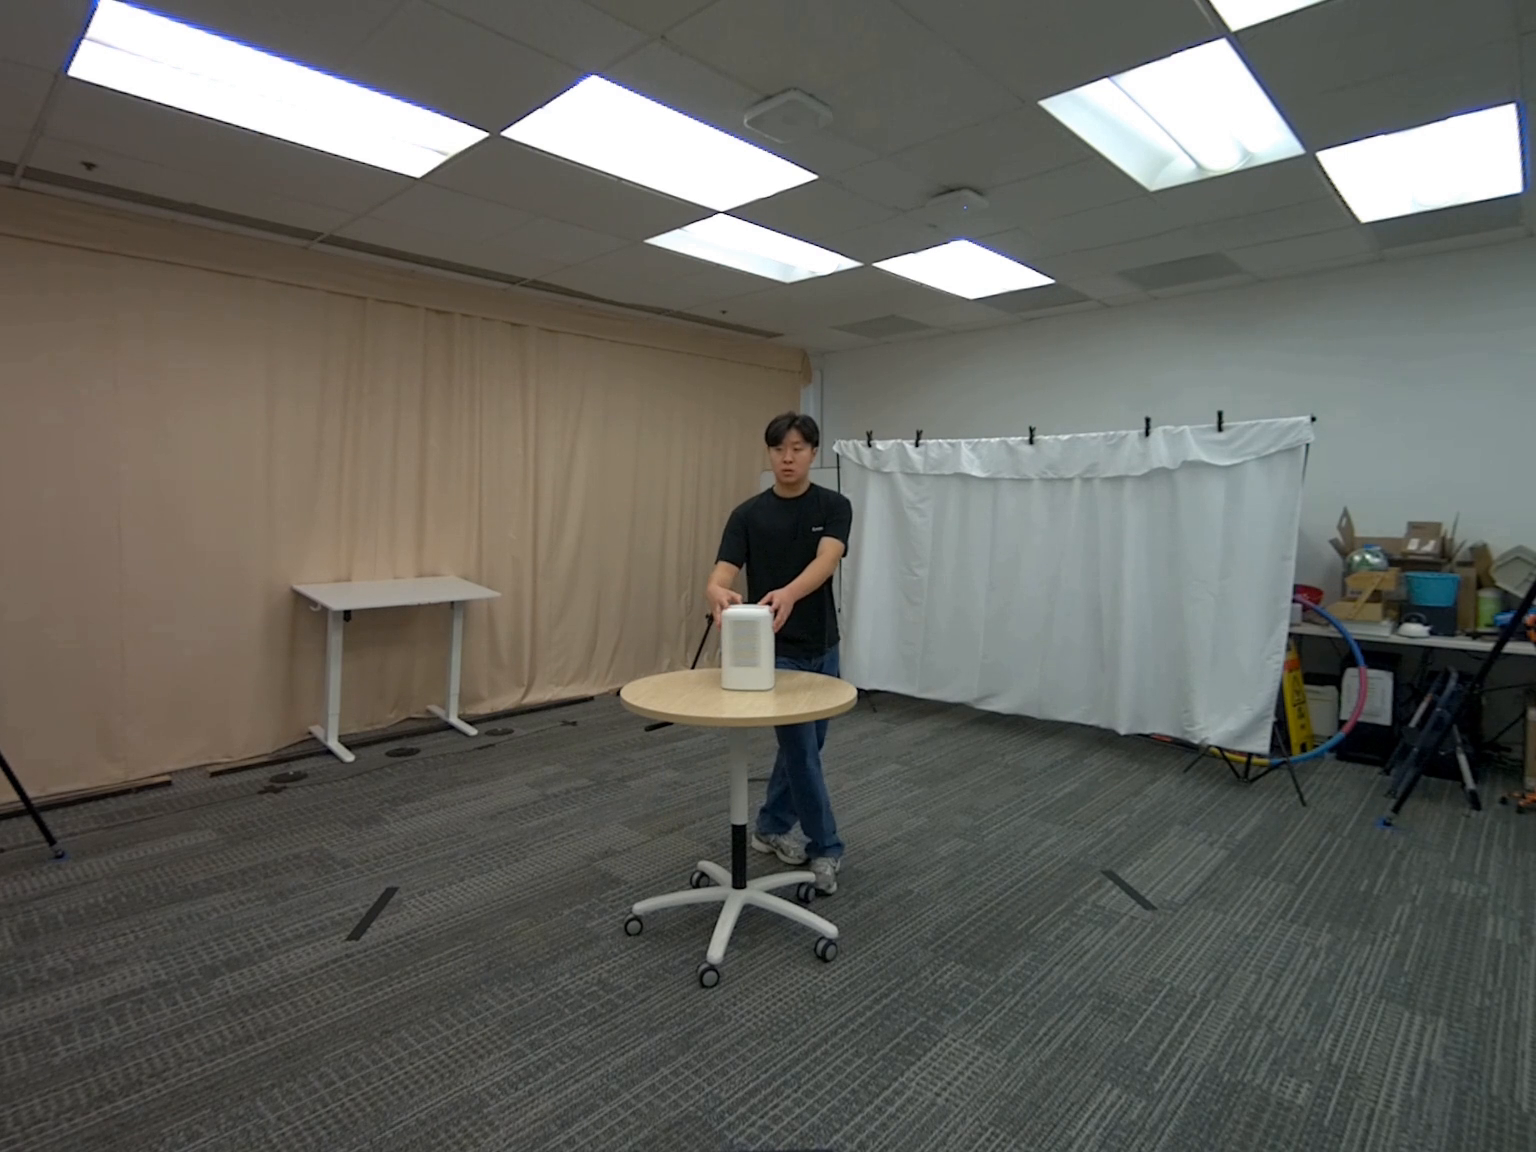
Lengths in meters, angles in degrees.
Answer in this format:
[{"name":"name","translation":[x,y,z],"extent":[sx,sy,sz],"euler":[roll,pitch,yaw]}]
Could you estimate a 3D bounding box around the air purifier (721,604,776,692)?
[{"name":"air purifier","translation":[-0.062,0.230,2.788],"extent":[0.173,0.265,0.170],"euler":[1,2,6]}]
